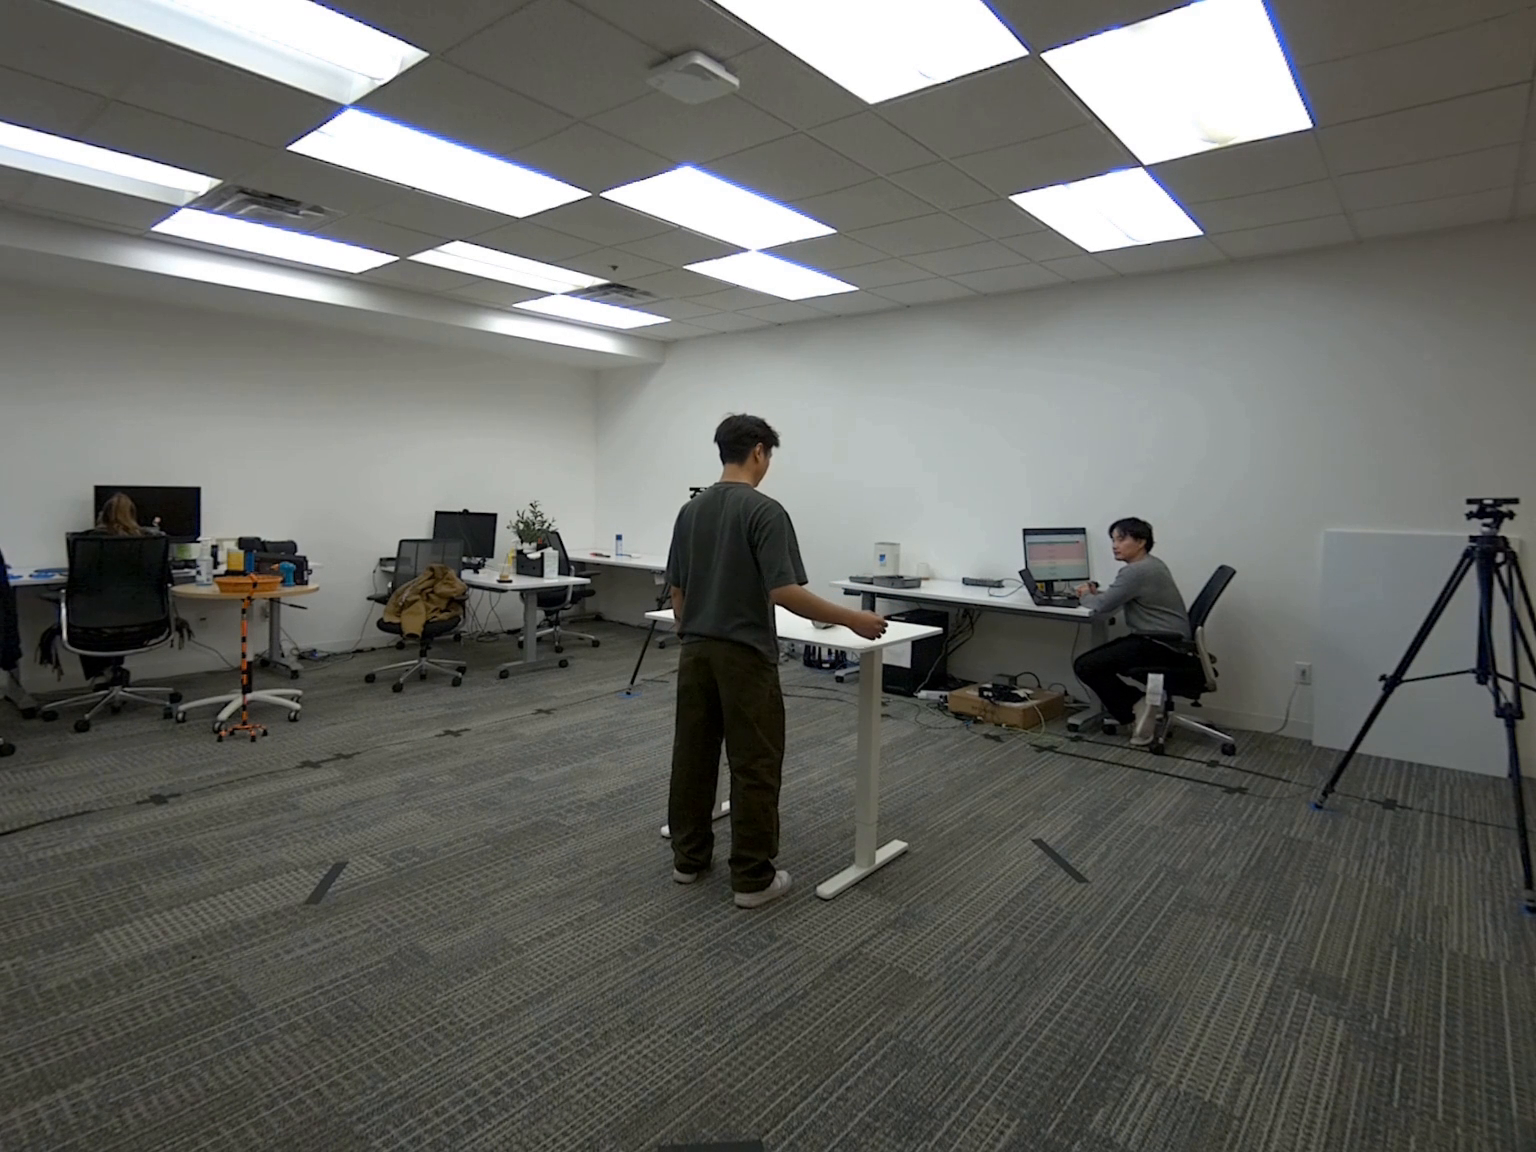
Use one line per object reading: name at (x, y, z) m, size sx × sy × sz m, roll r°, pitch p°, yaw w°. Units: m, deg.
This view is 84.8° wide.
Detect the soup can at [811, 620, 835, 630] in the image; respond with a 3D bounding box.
soup can at (0.210, 0.156, 3.163) m, size 0.069 × 0.067 × 0.118 m, roll 4°, pitch 5°, yaw 34°
